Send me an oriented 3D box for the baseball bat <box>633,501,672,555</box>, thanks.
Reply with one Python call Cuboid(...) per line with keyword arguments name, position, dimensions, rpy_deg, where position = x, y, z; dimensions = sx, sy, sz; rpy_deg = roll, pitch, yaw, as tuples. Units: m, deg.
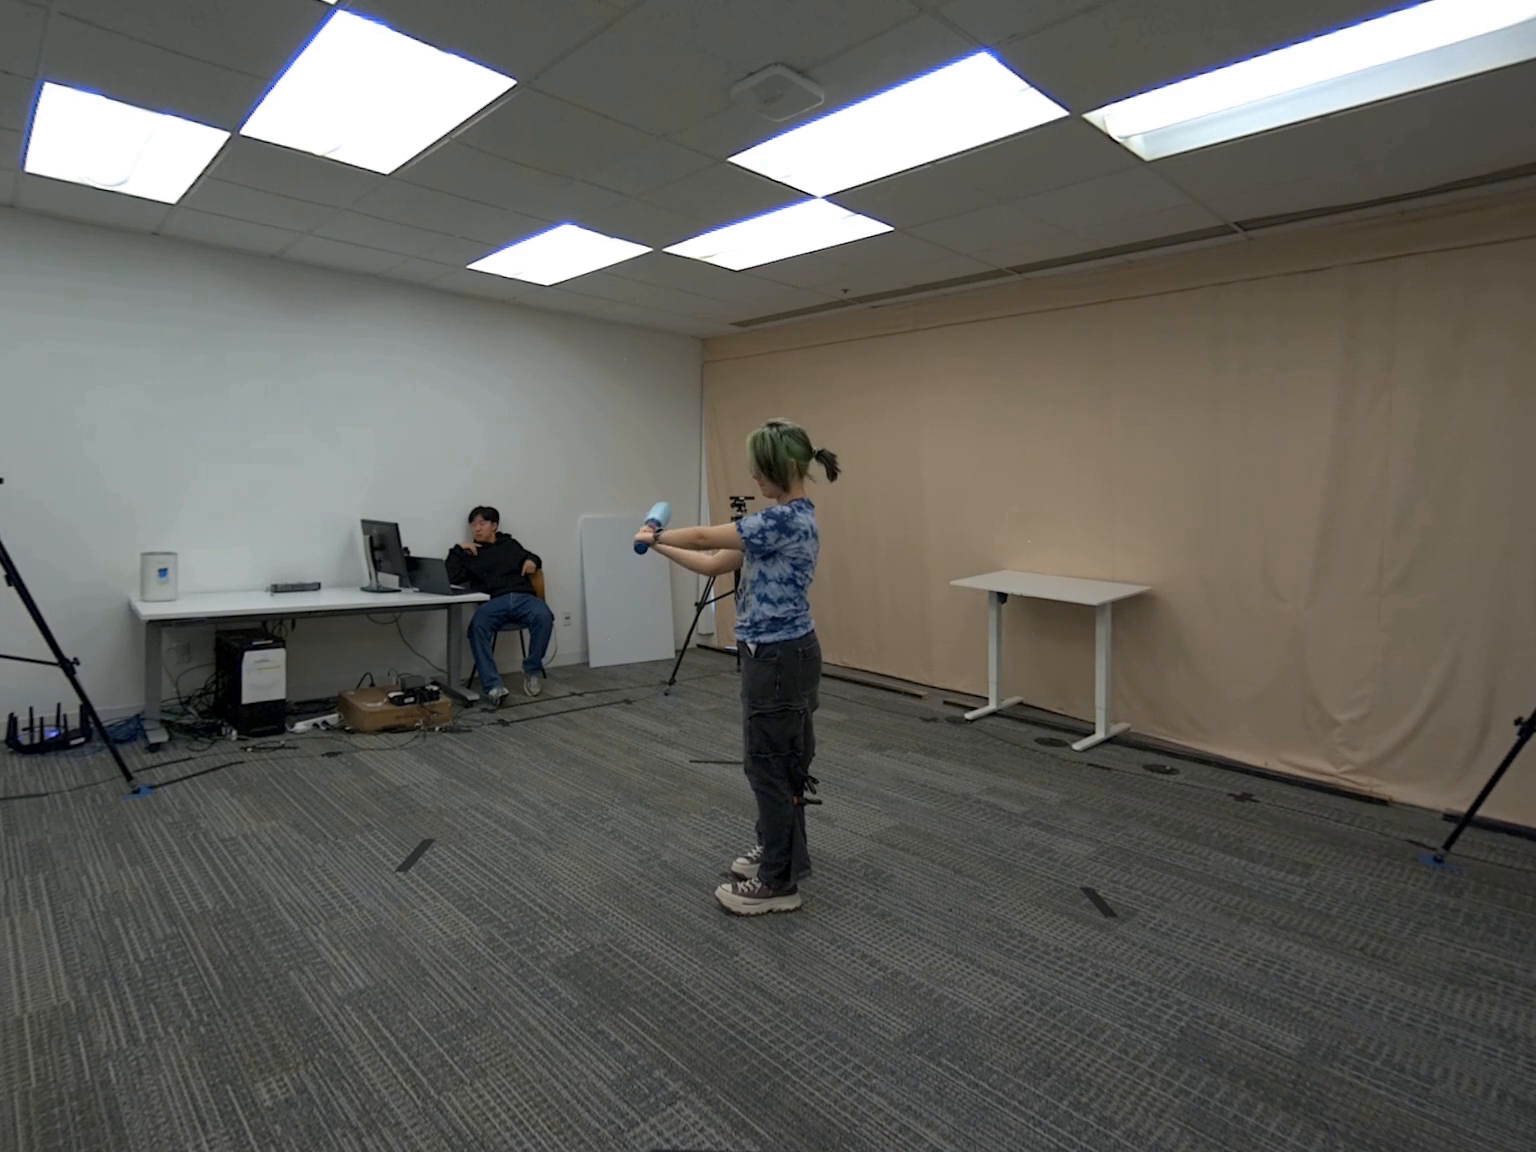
Cuboid(name="baseball bat", position=(-0.445, -0.180, 3.208), dimensions=(0.089, 0.088, 0.549), rpy_deg=(1, 20, 1))
